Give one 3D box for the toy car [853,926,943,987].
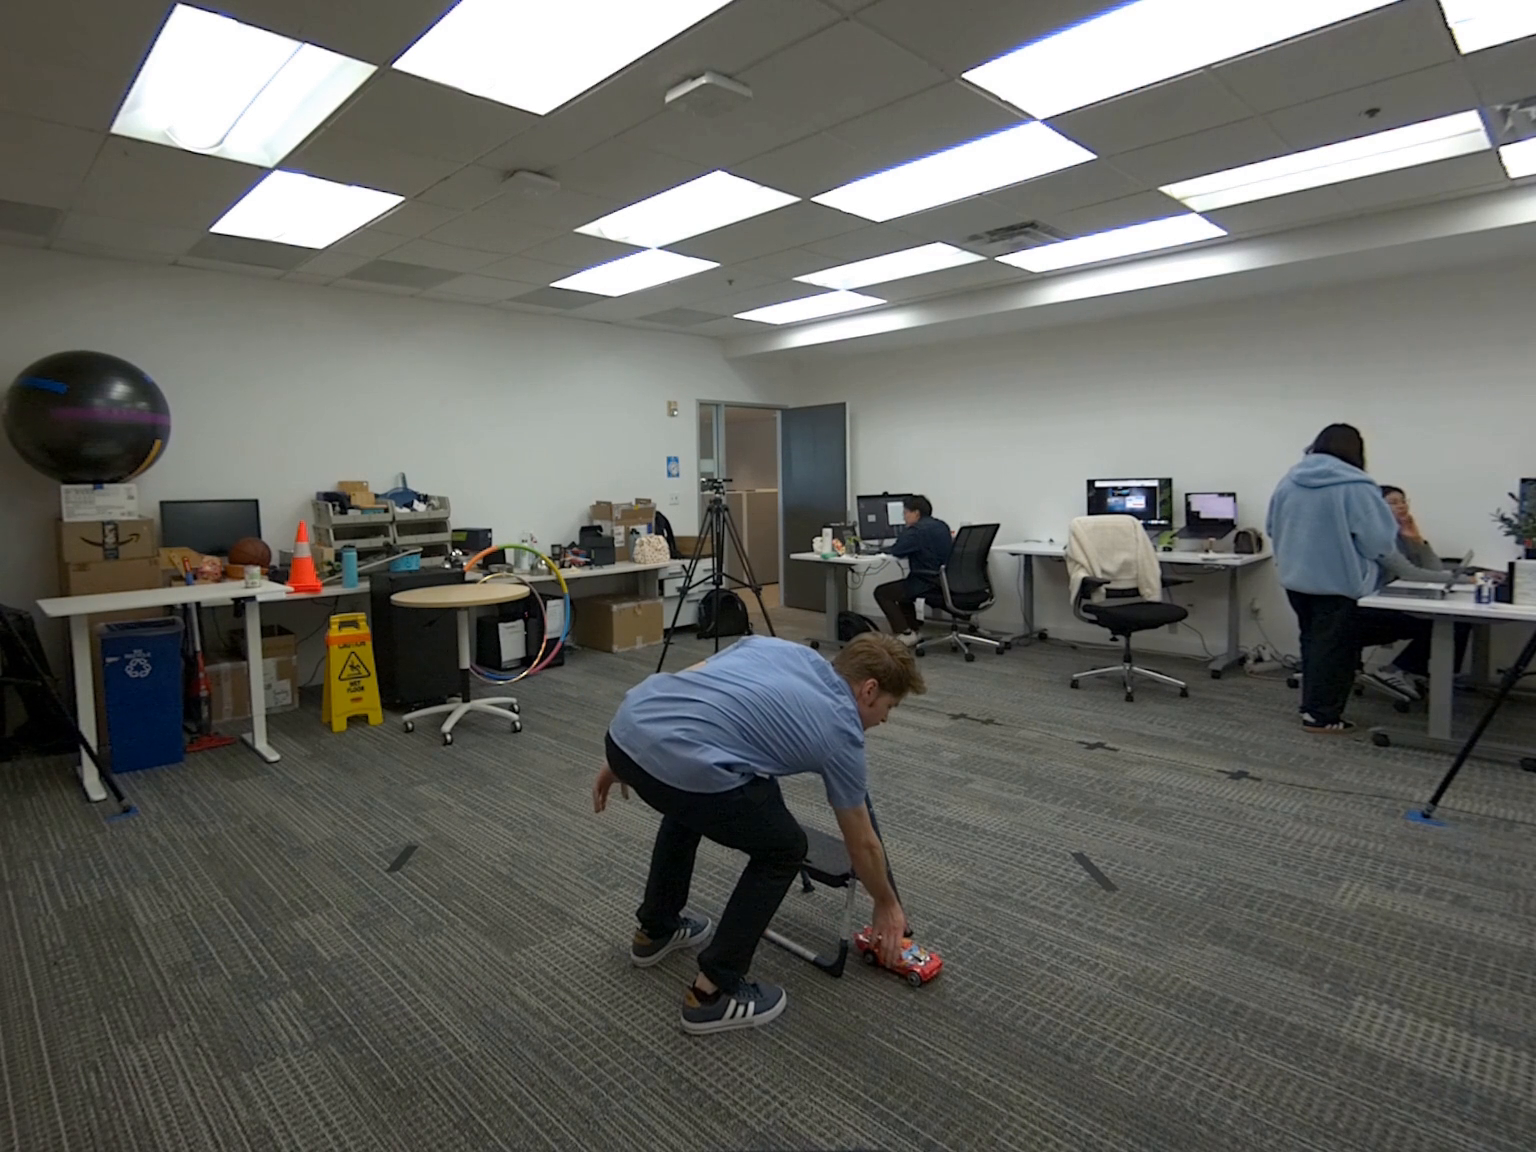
[{"bbox_3d":[0.378,1.089,2.439,0.264,0.082,0.127,19,20,42],"label":"toy car"}]
